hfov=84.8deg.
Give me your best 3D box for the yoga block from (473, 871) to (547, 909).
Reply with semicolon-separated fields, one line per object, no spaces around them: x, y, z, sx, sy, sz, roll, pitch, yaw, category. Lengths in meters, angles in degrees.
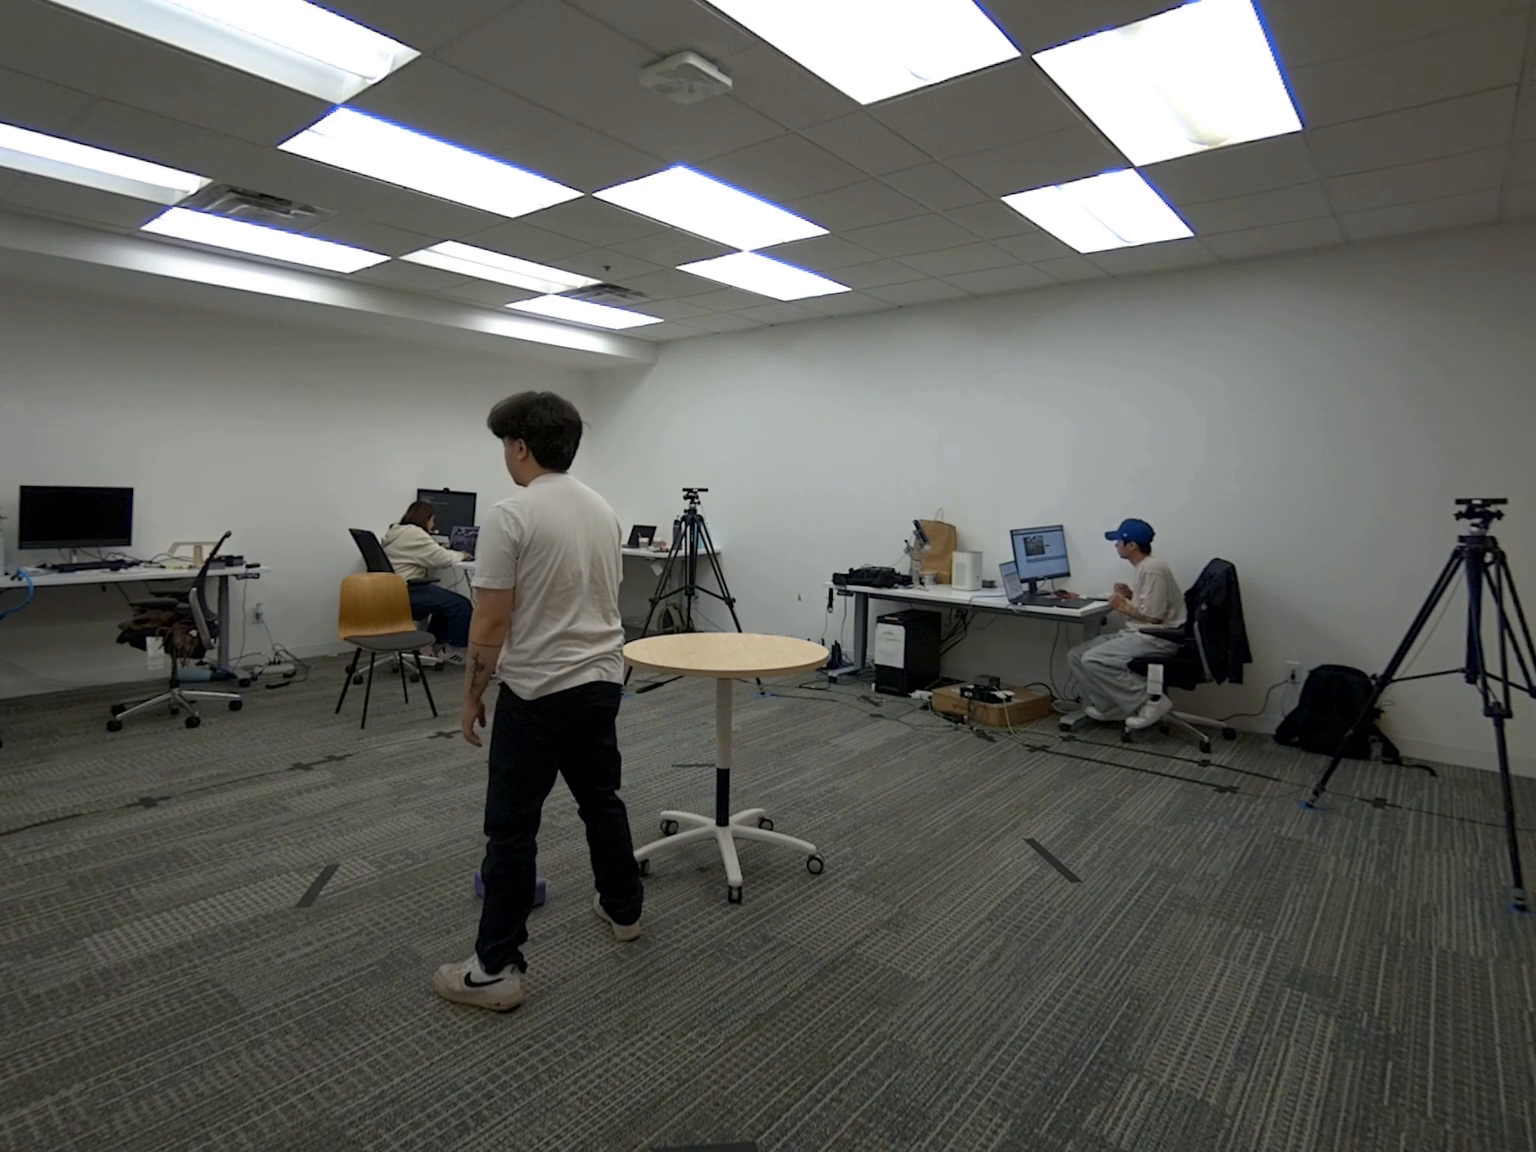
-0.875;1.042;2.860;0.237;0.076;0.144;5;6;44;yoga block
